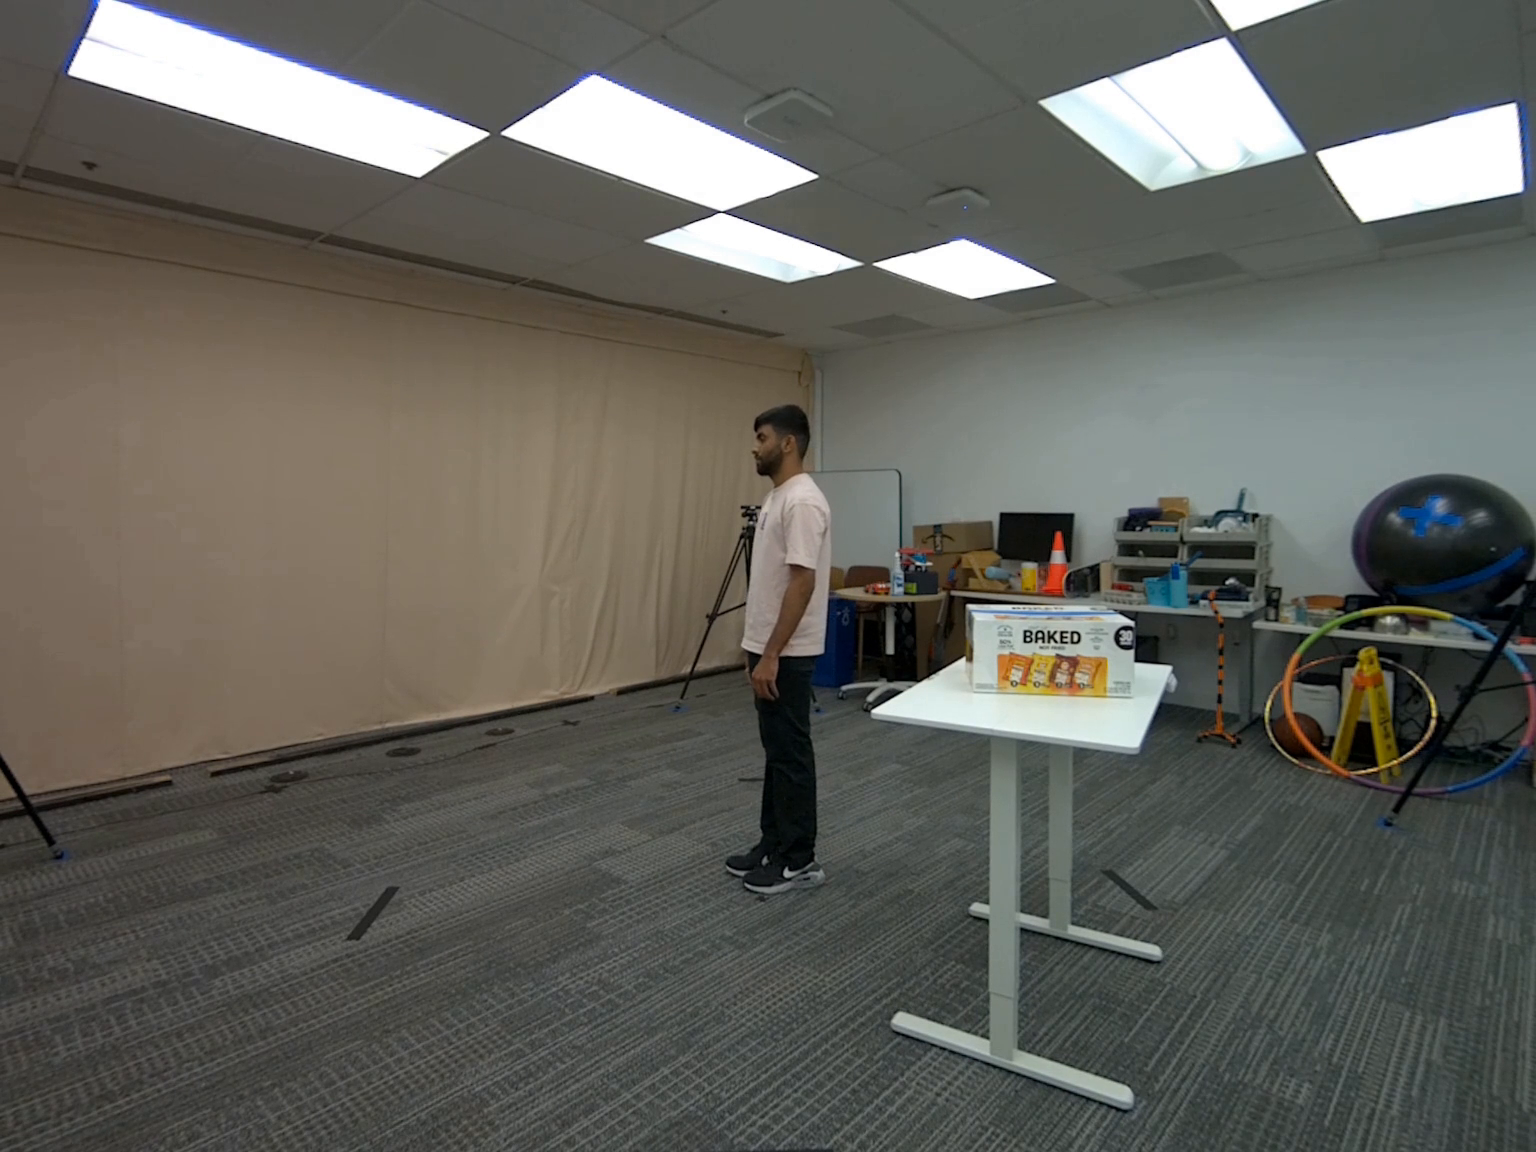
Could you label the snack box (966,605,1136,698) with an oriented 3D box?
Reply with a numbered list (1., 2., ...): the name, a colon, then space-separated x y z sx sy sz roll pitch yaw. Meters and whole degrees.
1. snack box: 0.786 0.202 2.407 0.411 0.205 0.337 1 5 12
